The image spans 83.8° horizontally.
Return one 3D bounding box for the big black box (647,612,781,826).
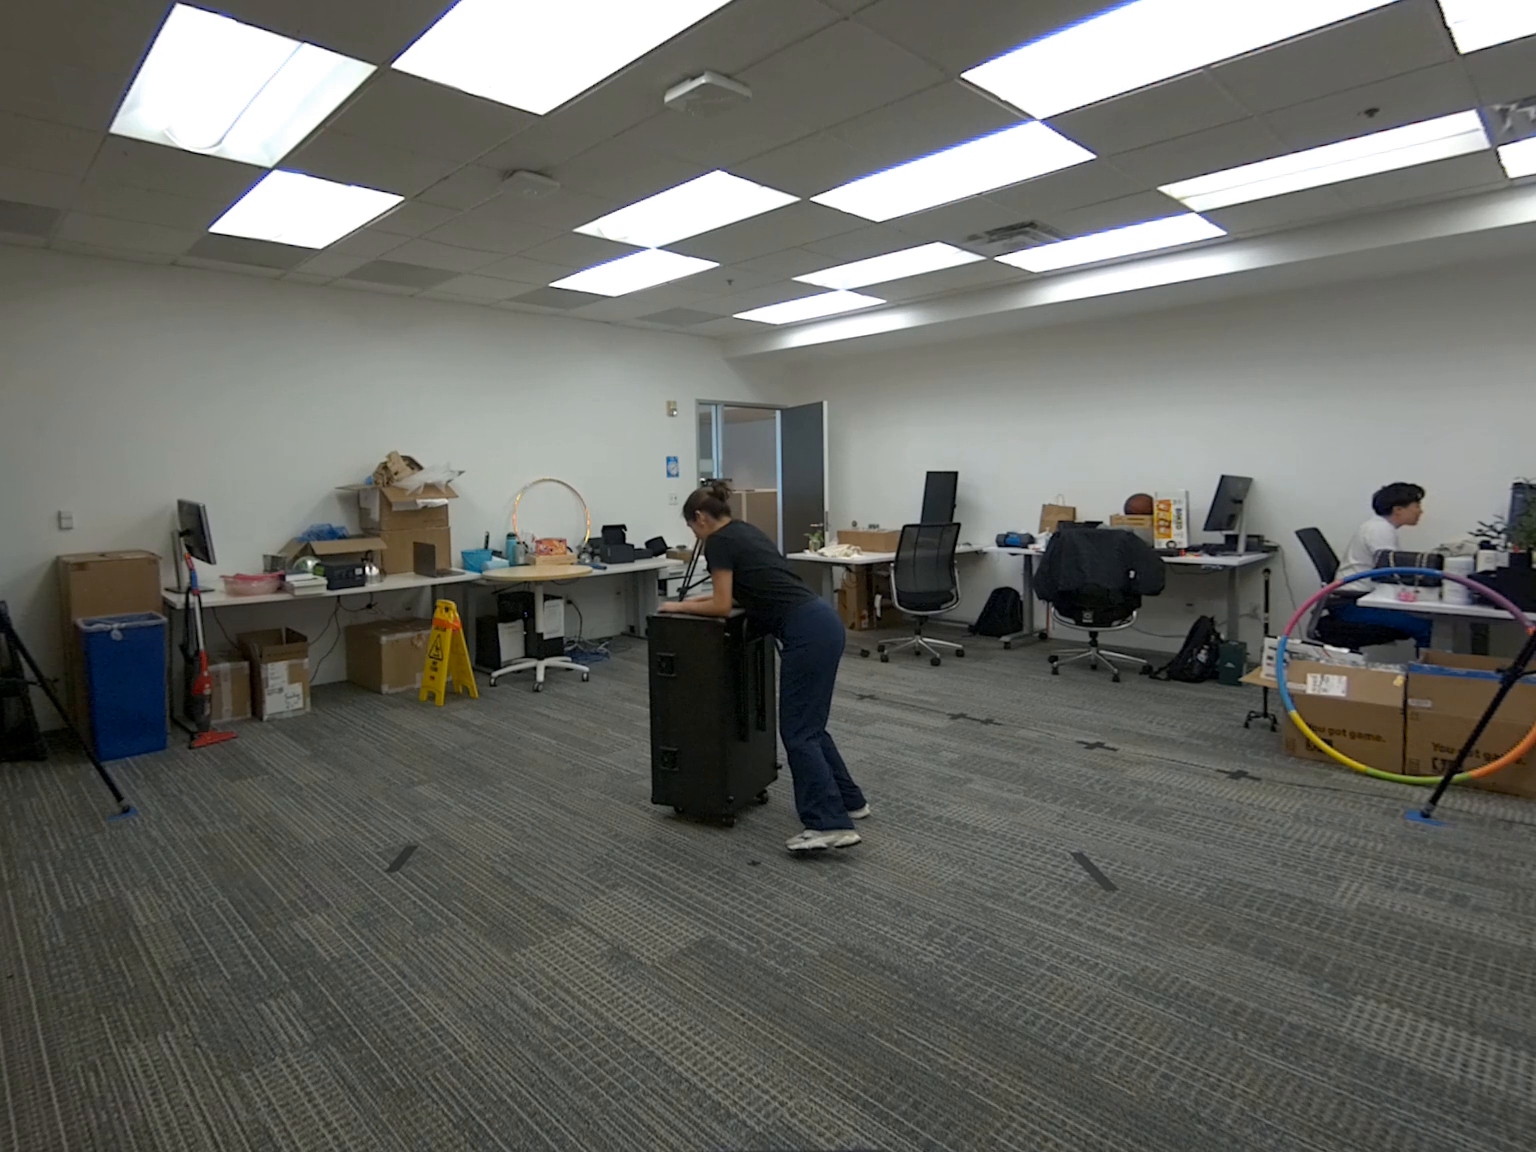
[{"bbox_3d":[-0.223,0.512,3.627,0.406,0.859,0.511,1,4,26],"label":"big black box"}]
